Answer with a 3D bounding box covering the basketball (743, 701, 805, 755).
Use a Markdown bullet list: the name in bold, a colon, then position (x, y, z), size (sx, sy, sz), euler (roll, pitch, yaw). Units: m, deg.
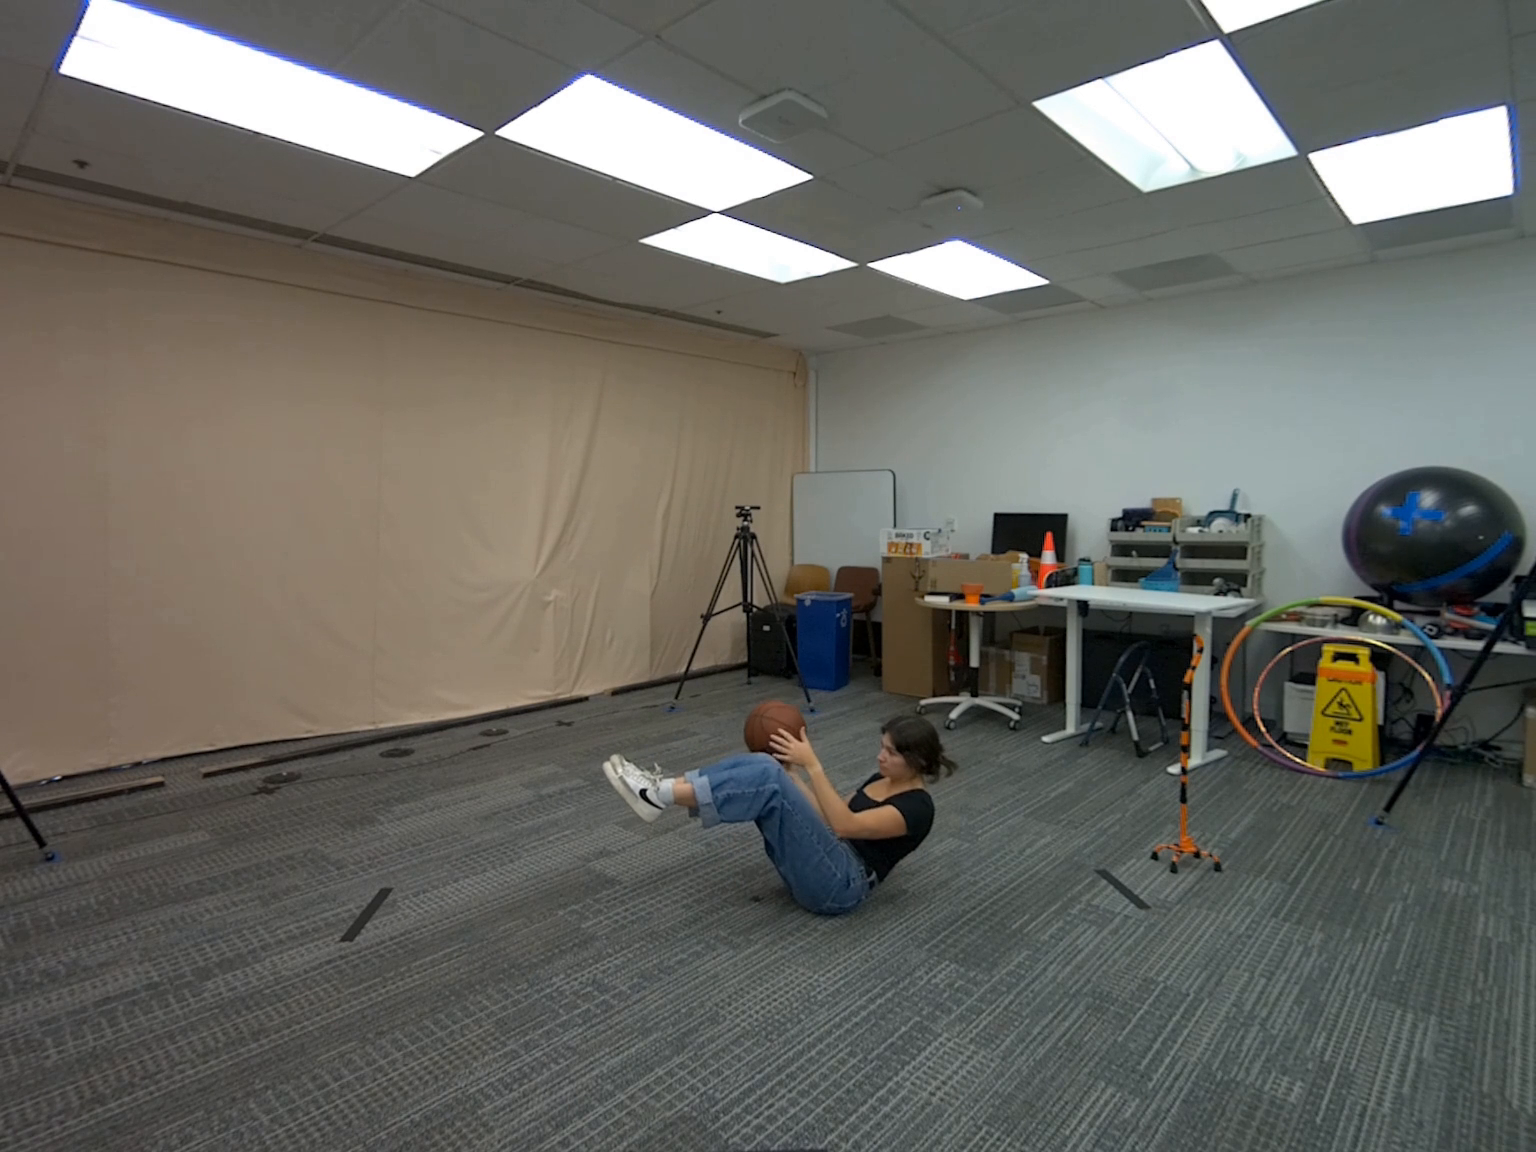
- **basketball**: position (0.026, 0.596, 3.180), size (0.236, 0.235, 0.237), euler (0, 4, -2)
